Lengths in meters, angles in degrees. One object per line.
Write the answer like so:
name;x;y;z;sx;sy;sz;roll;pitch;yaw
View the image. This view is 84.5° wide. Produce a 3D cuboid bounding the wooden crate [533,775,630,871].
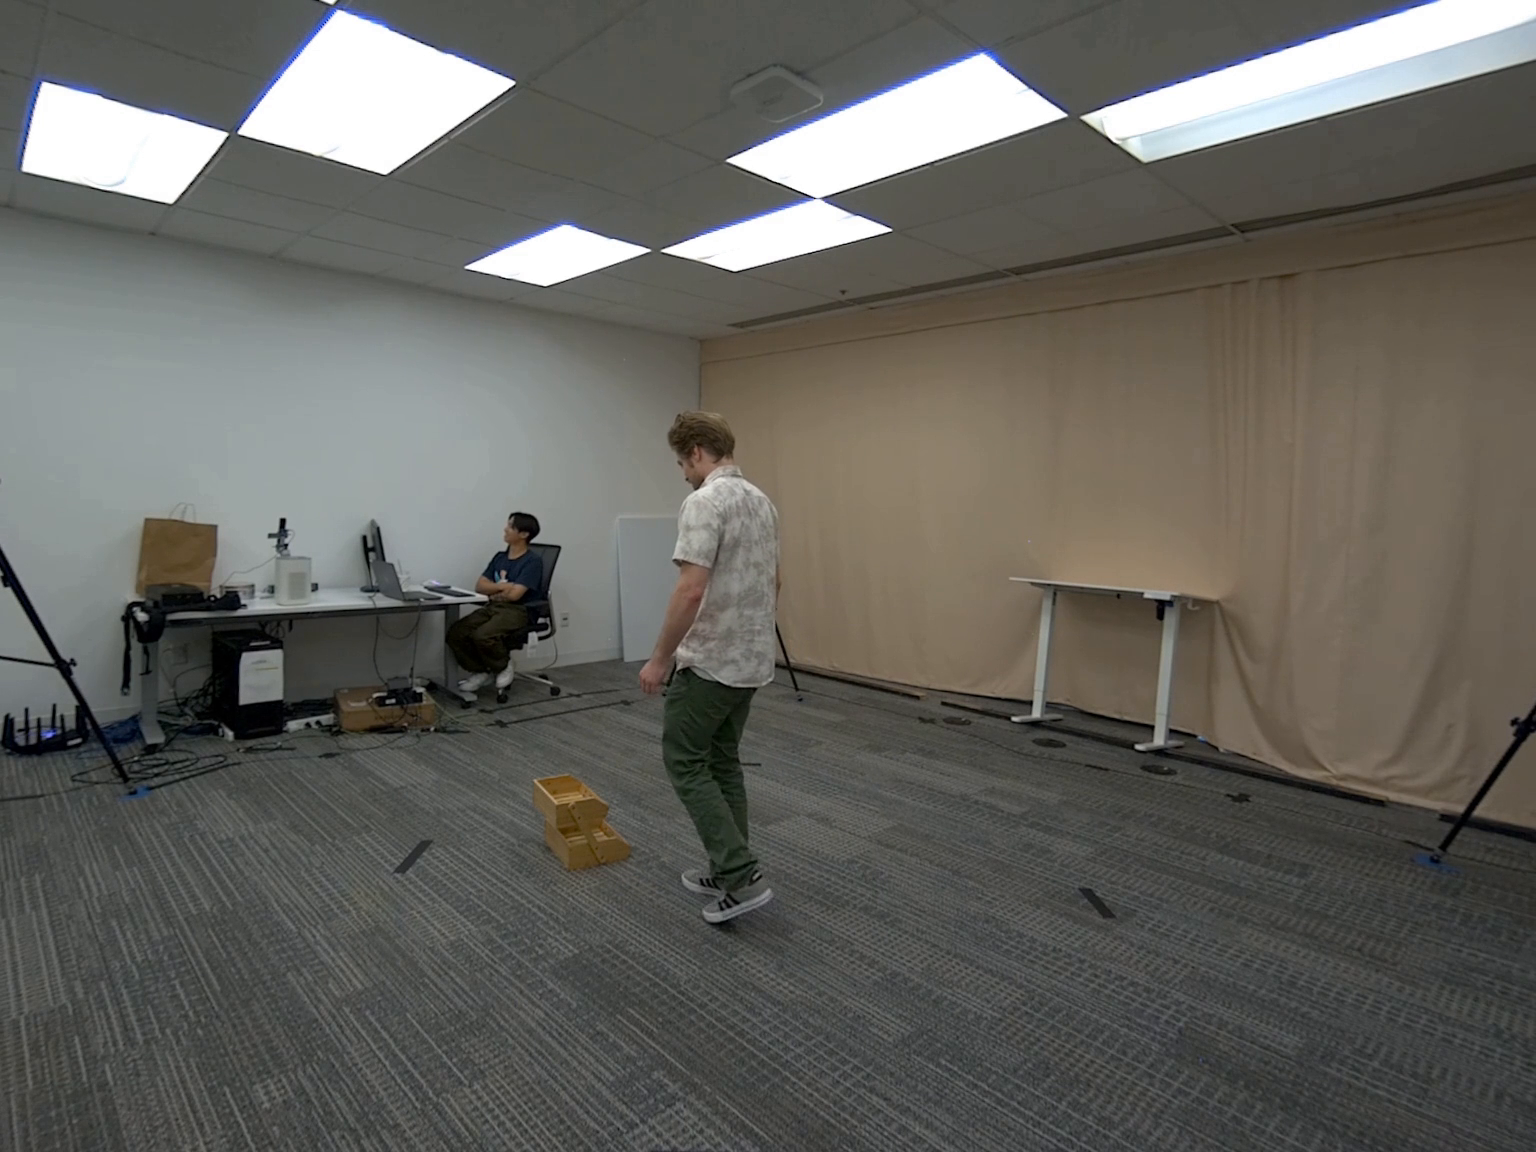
wooden crate;-0.738;0.944;3.290;0.296;0.272;0.332;-2;6;-31
